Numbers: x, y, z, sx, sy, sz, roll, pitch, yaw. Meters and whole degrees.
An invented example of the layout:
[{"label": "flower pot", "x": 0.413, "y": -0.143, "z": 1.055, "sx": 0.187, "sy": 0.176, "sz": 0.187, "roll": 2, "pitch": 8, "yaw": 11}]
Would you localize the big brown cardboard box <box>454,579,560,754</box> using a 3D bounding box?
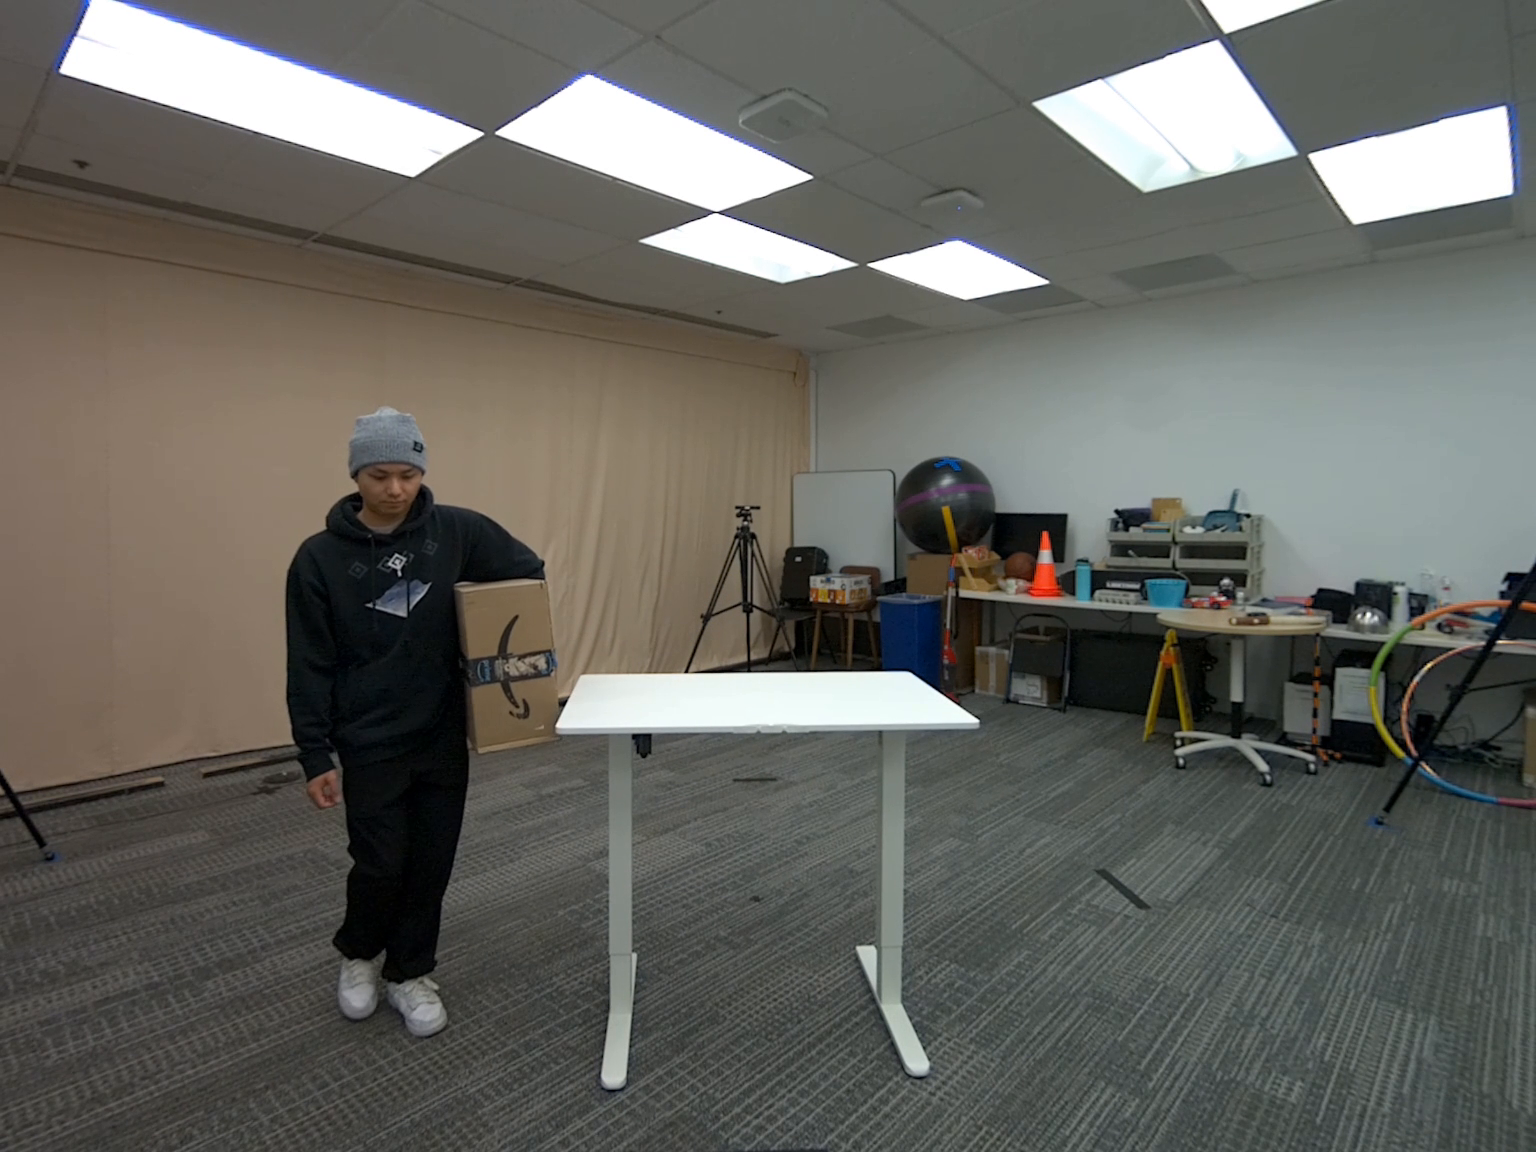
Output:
[{"label": "big brown cardboard box", "x": -0.775, "y": 0.228, "z": 2.385, "sx": 0.228, "sy": 0.417, "sz": 0.603, "roll": -5, "pitch": 3, "yaw": -24}]
